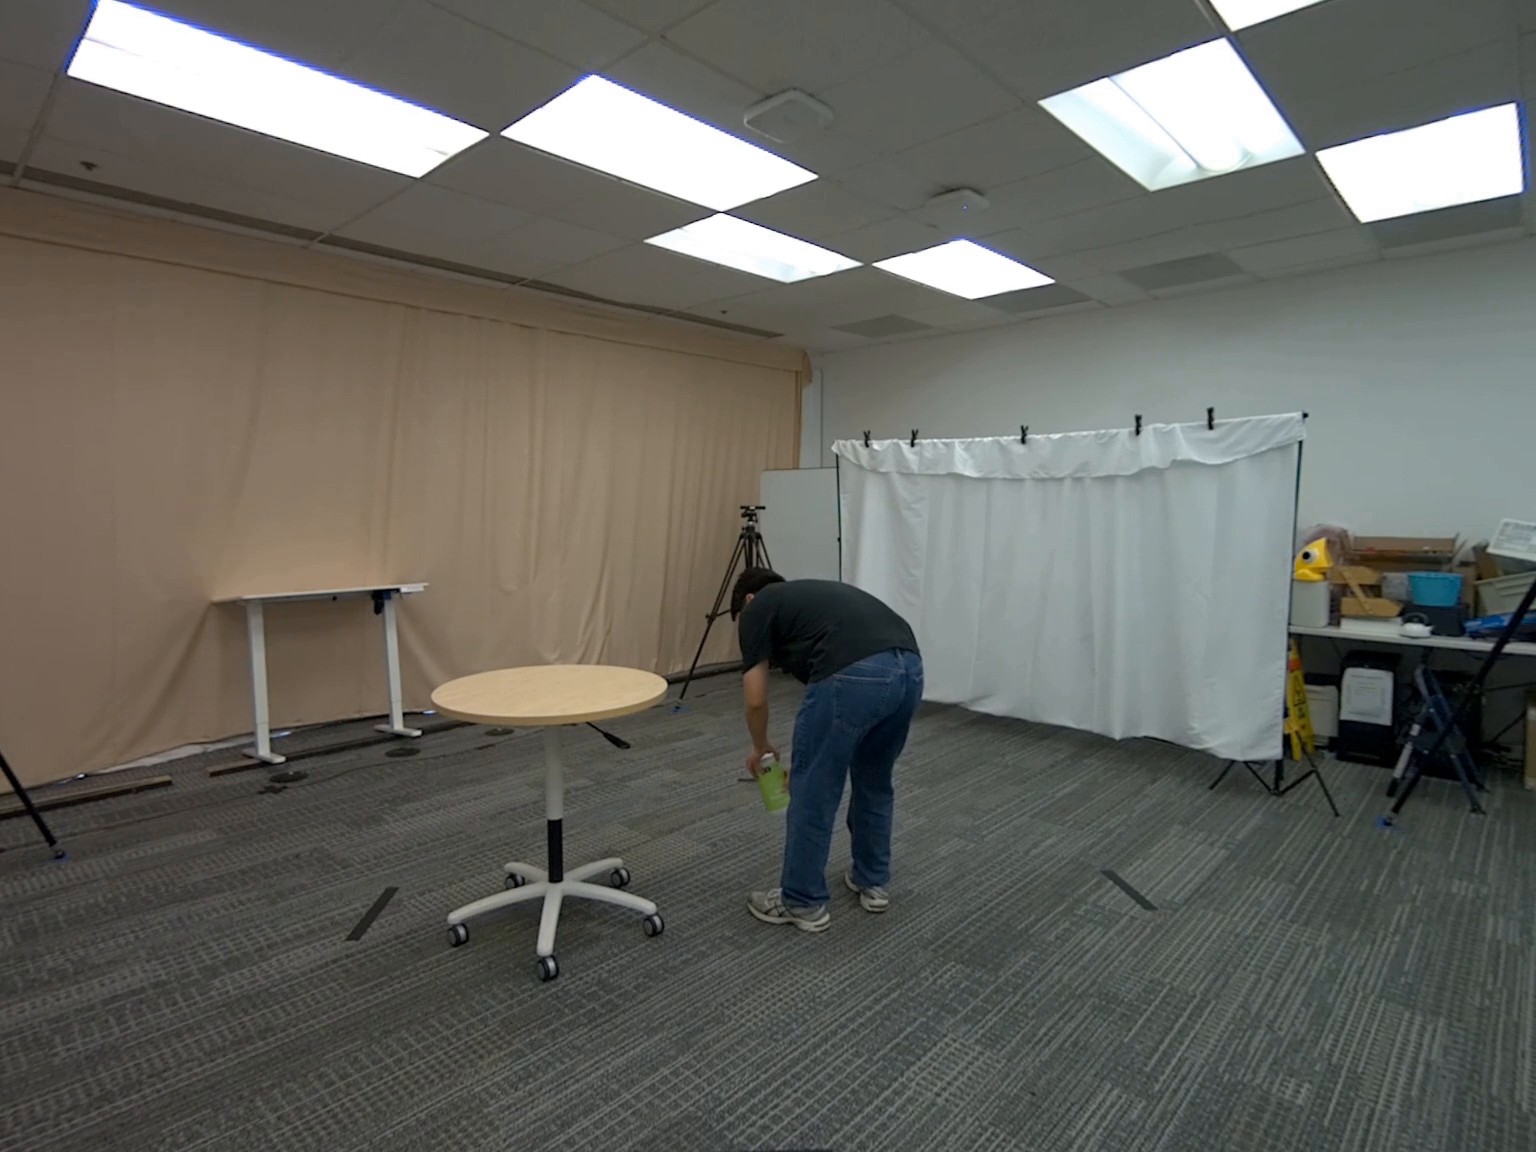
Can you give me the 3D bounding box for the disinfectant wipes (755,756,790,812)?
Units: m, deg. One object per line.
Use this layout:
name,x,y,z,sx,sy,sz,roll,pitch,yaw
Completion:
disinfectant wipes,0.018,0.777,3.124,0.117,0.218,0.118,-18,-1,-2
